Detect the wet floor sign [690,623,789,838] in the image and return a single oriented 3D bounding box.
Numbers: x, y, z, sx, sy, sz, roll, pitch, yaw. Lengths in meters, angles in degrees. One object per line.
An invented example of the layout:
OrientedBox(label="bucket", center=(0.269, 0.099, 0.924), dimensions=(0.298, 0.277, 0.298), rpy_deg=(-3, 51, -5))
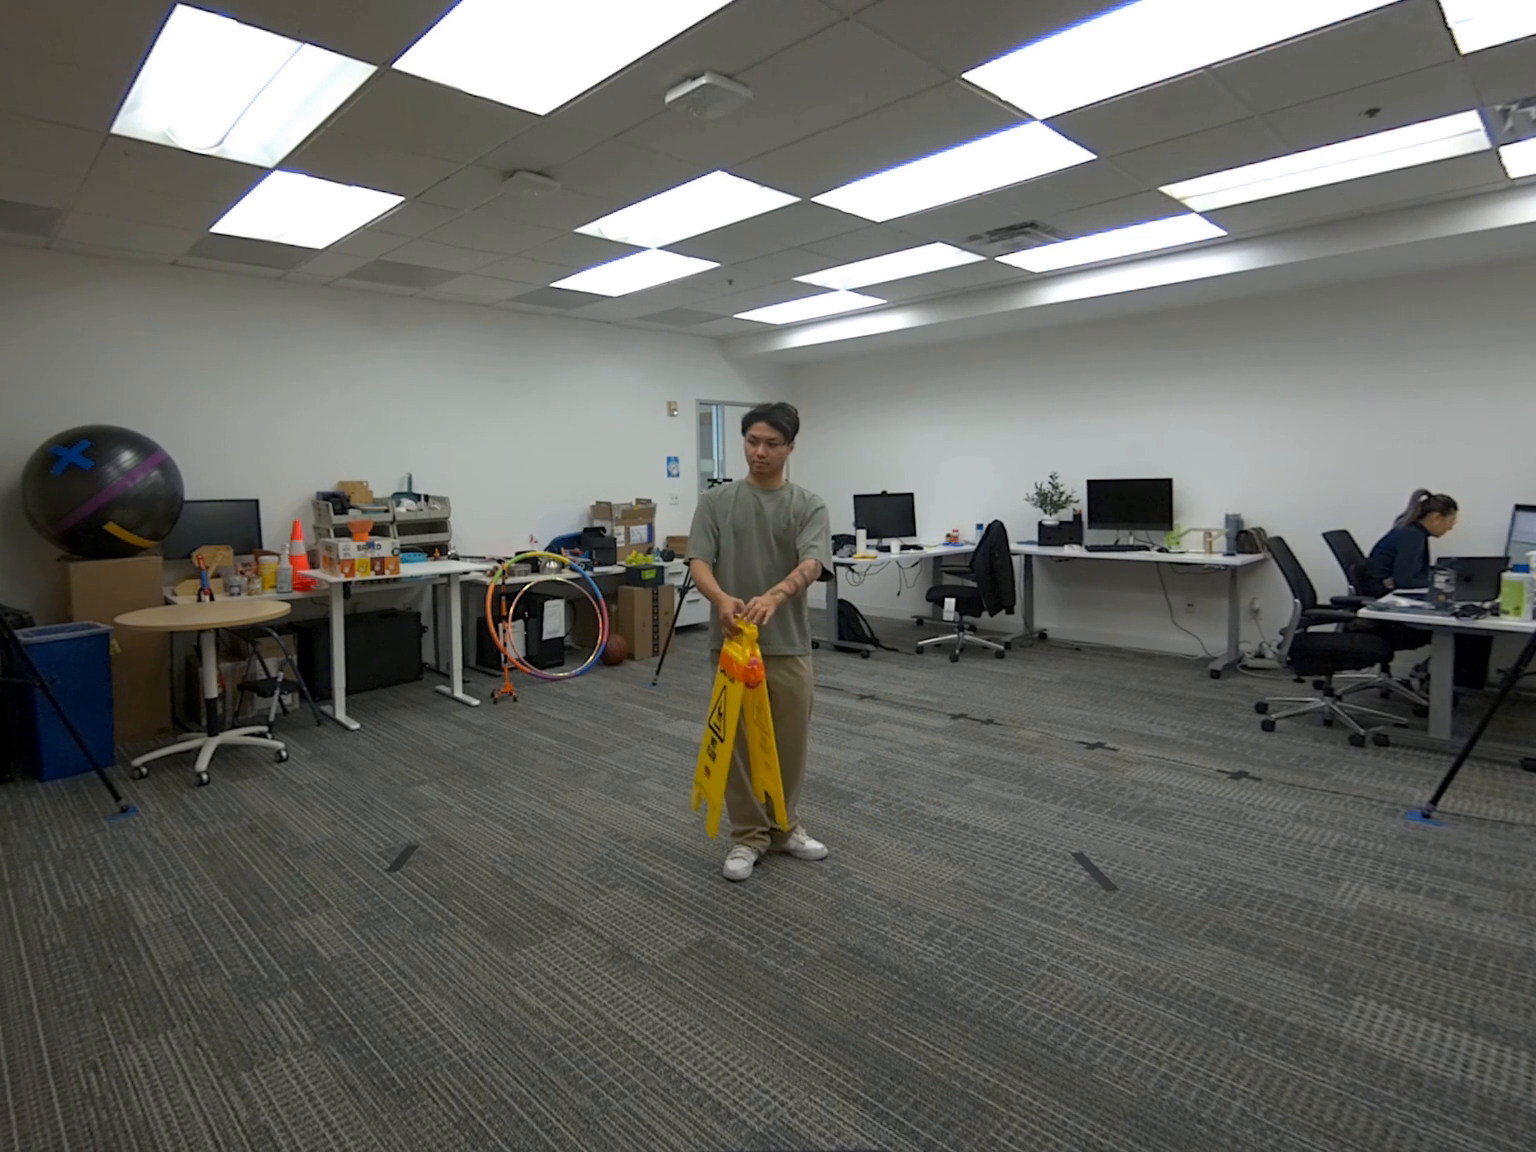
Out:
OrientedBox(label="wet floor sign", center=(-0.083, 0.457, 2.710), dimensions=(0.285, 0.642, 0.289), rpy_deg=(0, 8, -19))
